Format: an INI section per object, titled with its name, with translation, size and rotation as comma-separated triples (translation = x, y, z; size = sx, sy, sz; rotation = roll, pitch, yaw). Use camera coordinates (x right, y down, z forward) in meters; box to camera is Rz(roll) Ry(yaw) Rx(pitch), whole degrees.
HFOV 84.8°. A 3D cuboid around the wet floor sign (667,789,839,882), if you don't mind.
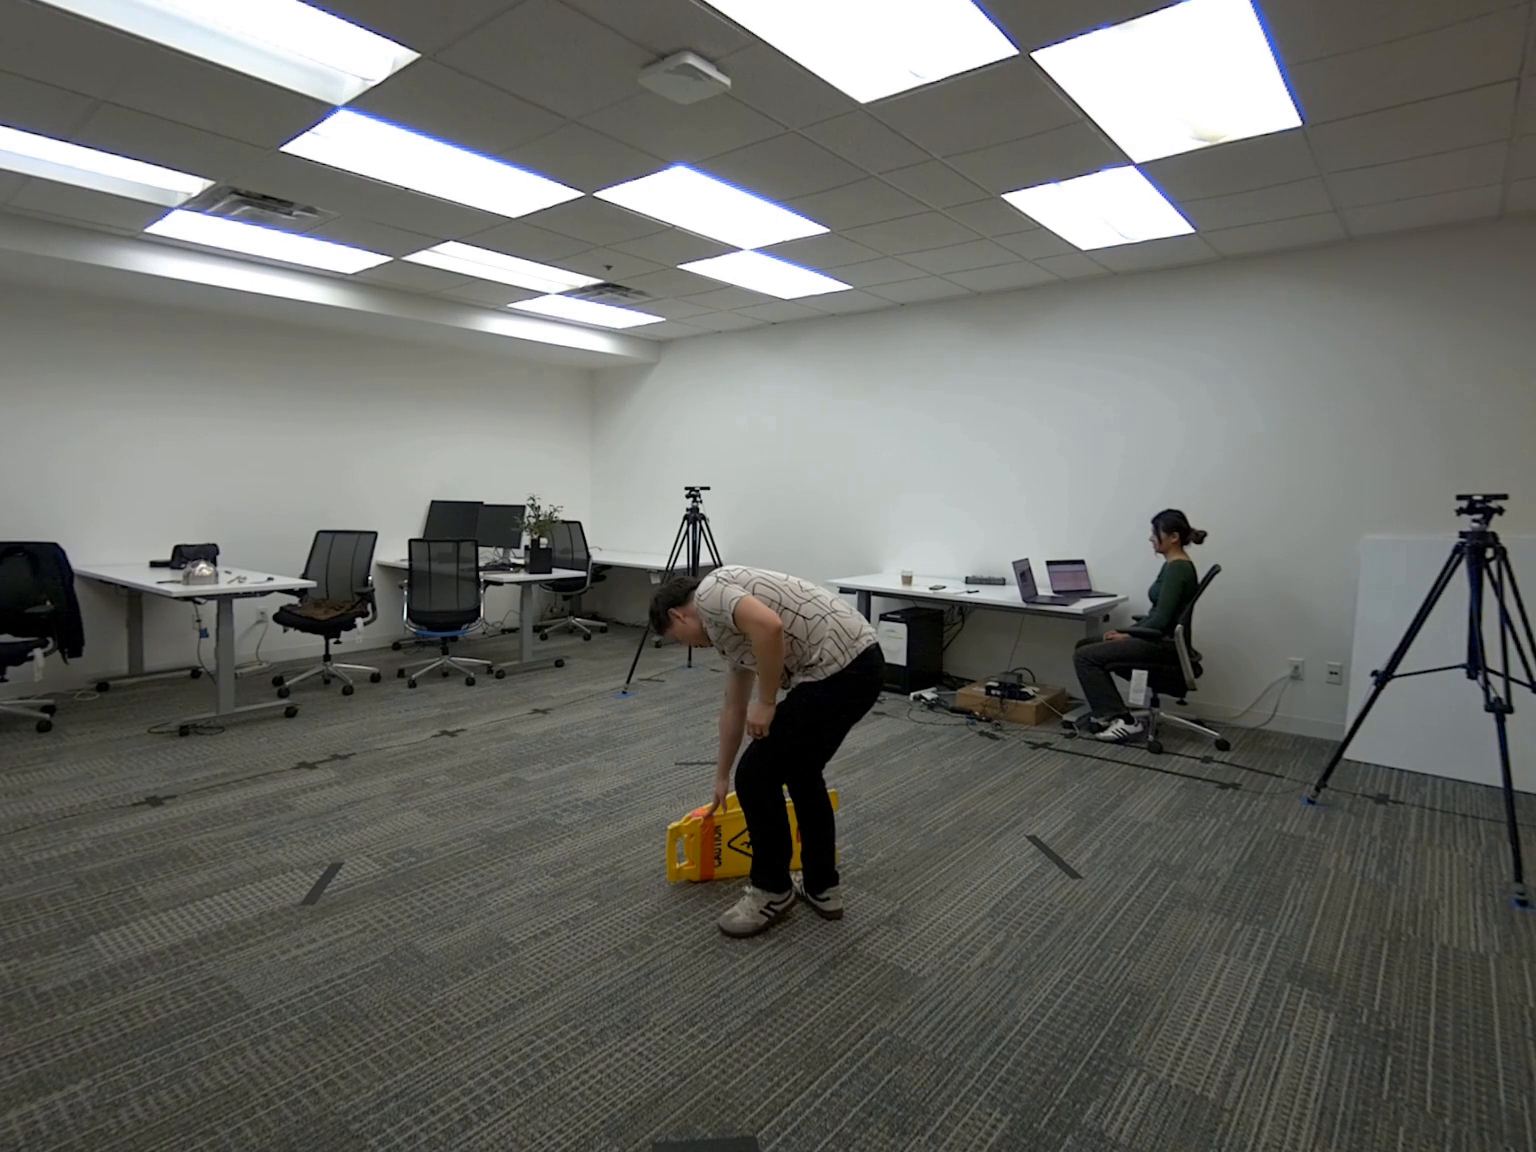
[wet floor sign]
translation = -0.093, 0.933, 3.109
size = 0.629, 0.281, 0.299
rotation = -5, 8, -33
